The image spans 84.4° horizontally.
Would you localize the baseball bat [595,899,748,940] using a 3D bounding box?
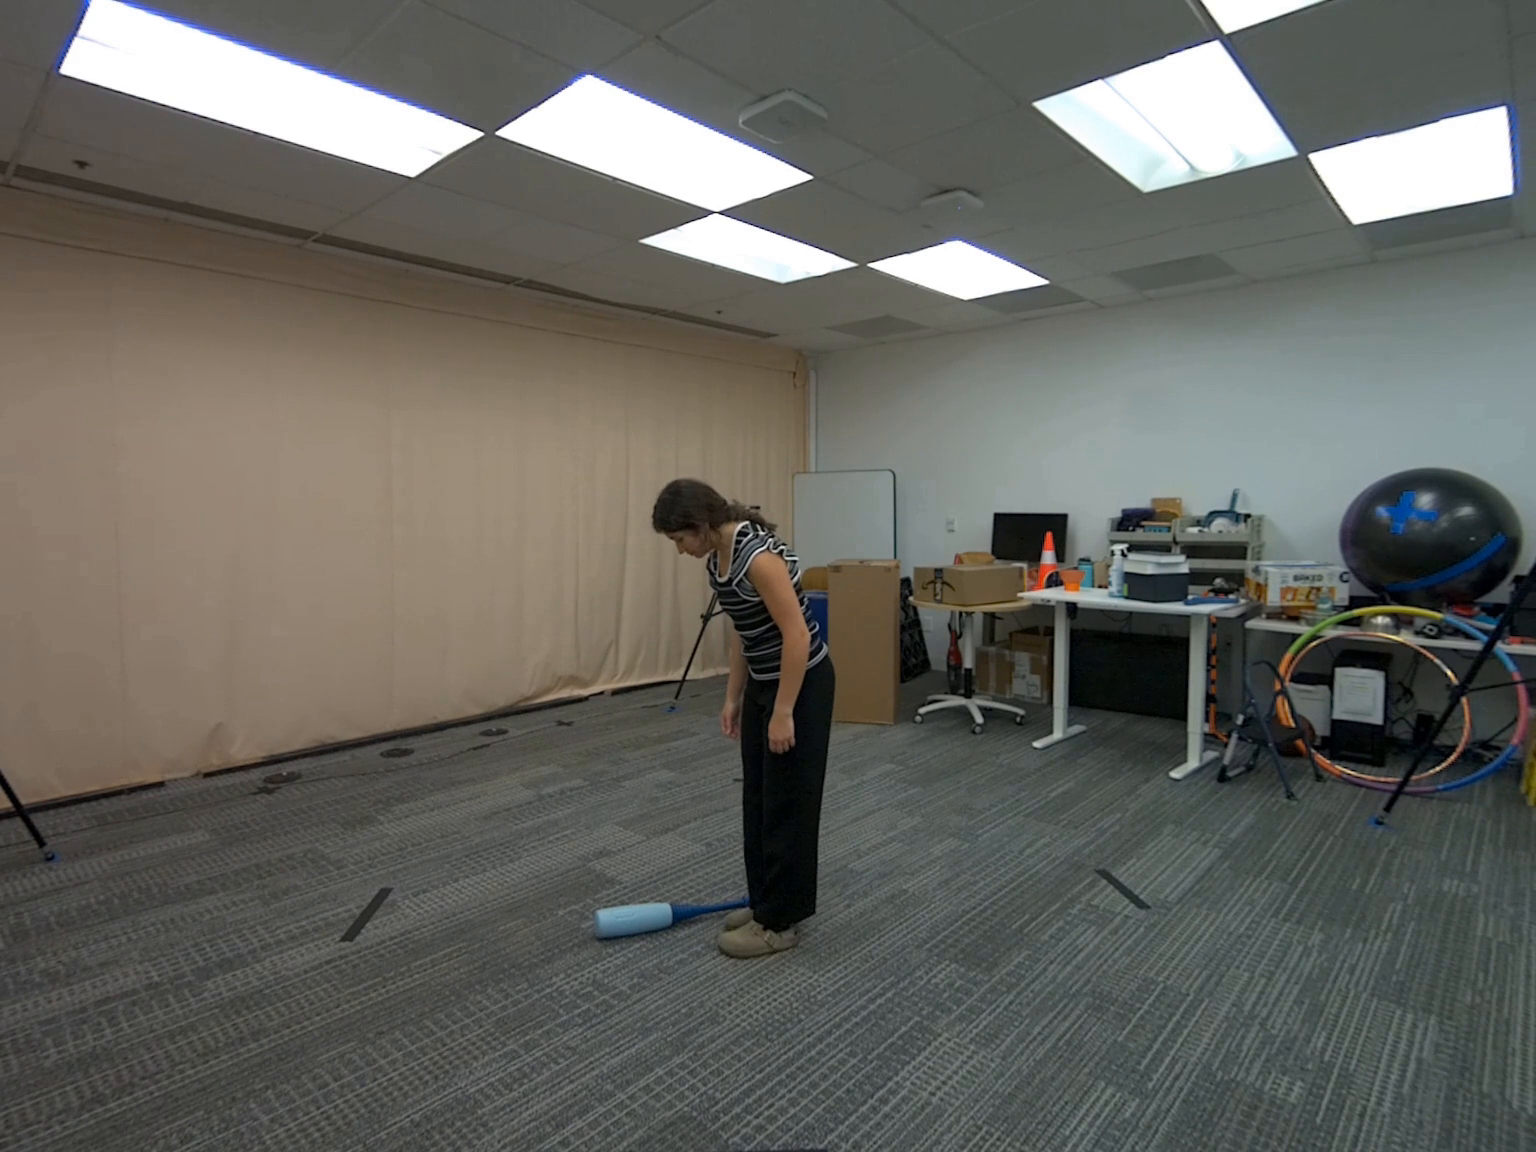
[{"bbox_3d":[-0.308,1.131,2.802,0.531,0.089,0.091,1,3,-21],"label":"baseball bat"}]
